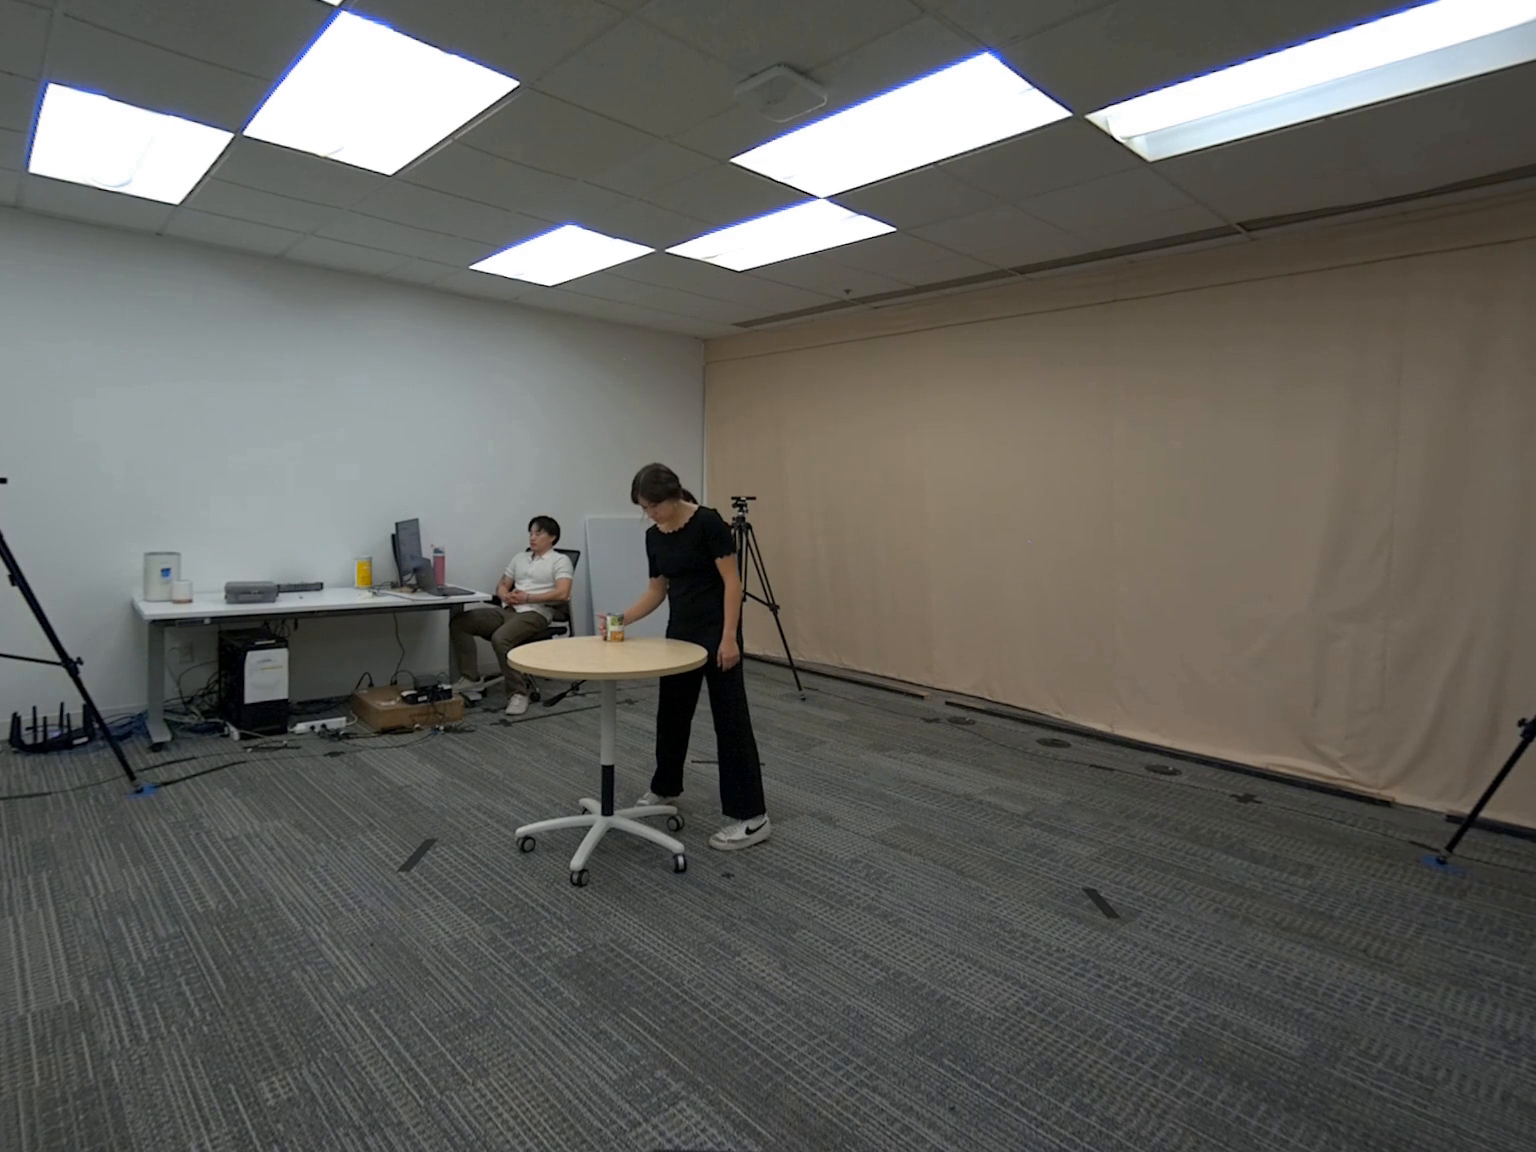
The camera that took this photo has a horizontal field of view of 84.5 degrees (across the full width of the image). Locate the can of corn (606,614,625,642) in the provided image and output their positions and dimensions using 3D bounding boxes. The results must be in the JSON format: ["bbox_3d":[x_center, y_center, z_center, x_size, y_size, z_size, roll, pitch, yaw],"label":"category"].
[{"bbox_3d":[-0.652,0.215,3.539,0.074,0.111,0.074,1,3,-1],"label":"can of corn"}]
